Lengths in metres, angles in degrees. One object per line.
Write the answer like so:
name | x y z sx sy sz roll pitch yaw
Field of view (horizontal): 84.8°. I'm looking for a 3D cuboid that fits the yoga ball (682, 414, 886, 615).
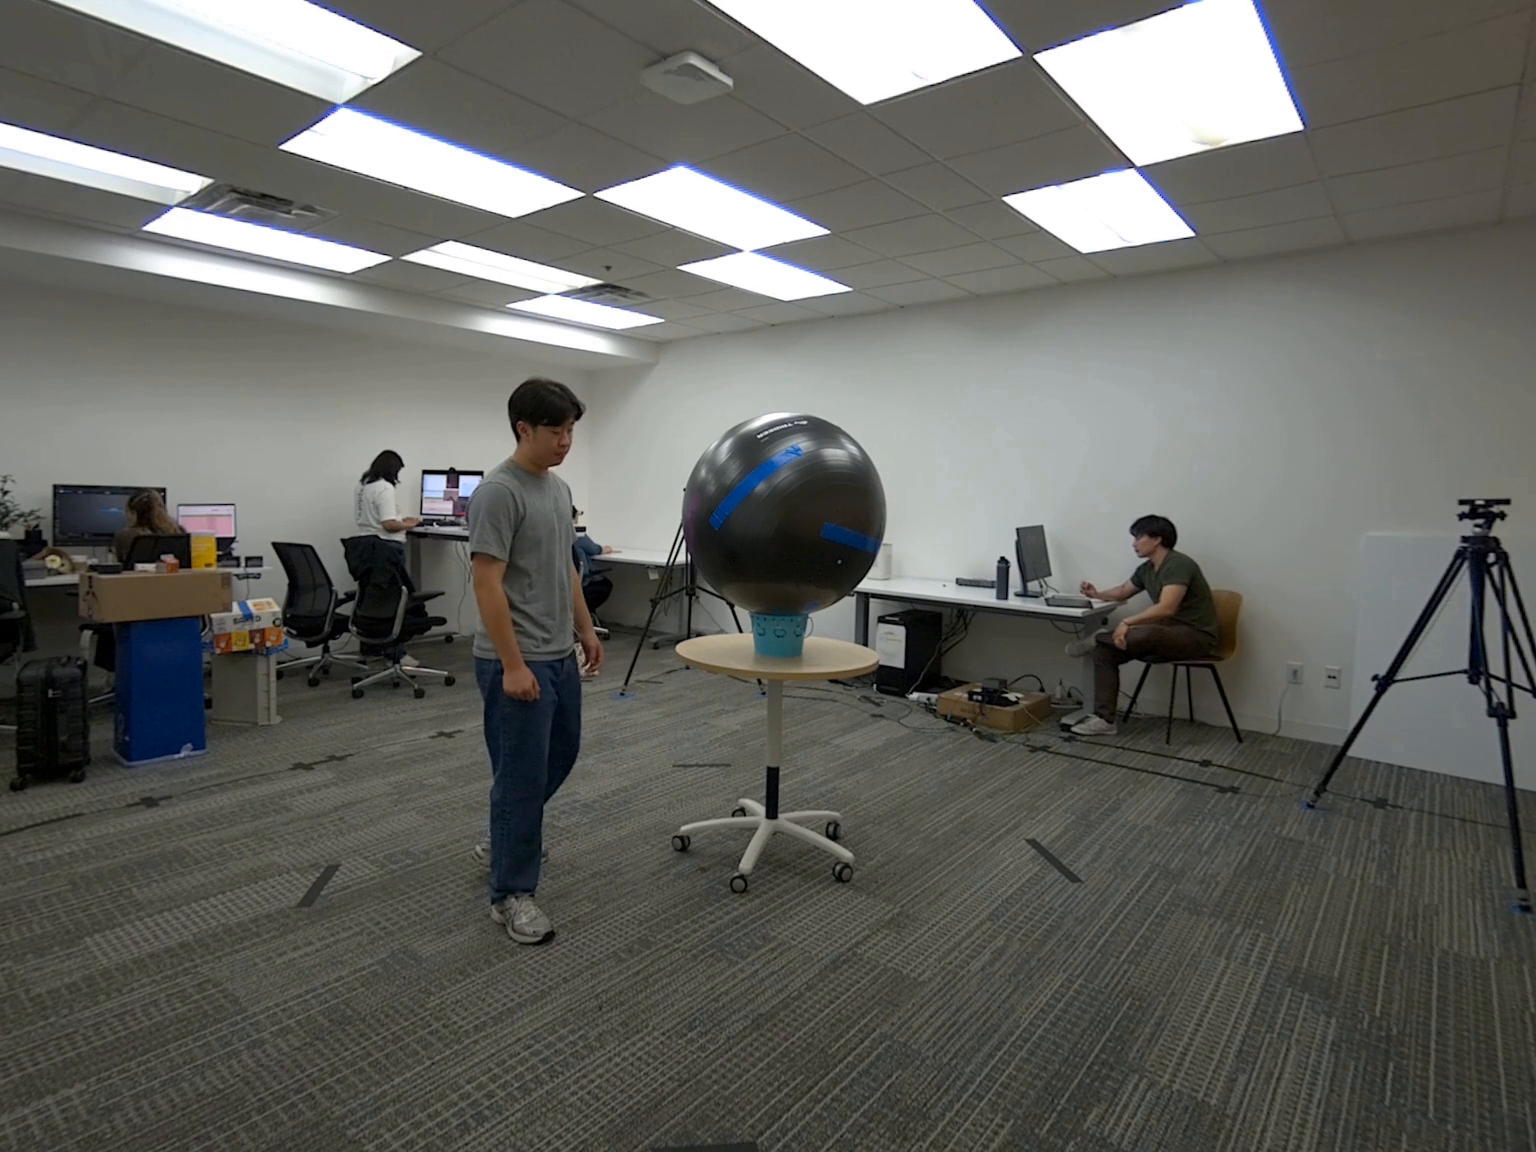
yoga ball | 0.048 -0.228 3.181 0.757 0.755 0.762 1 4 -2
